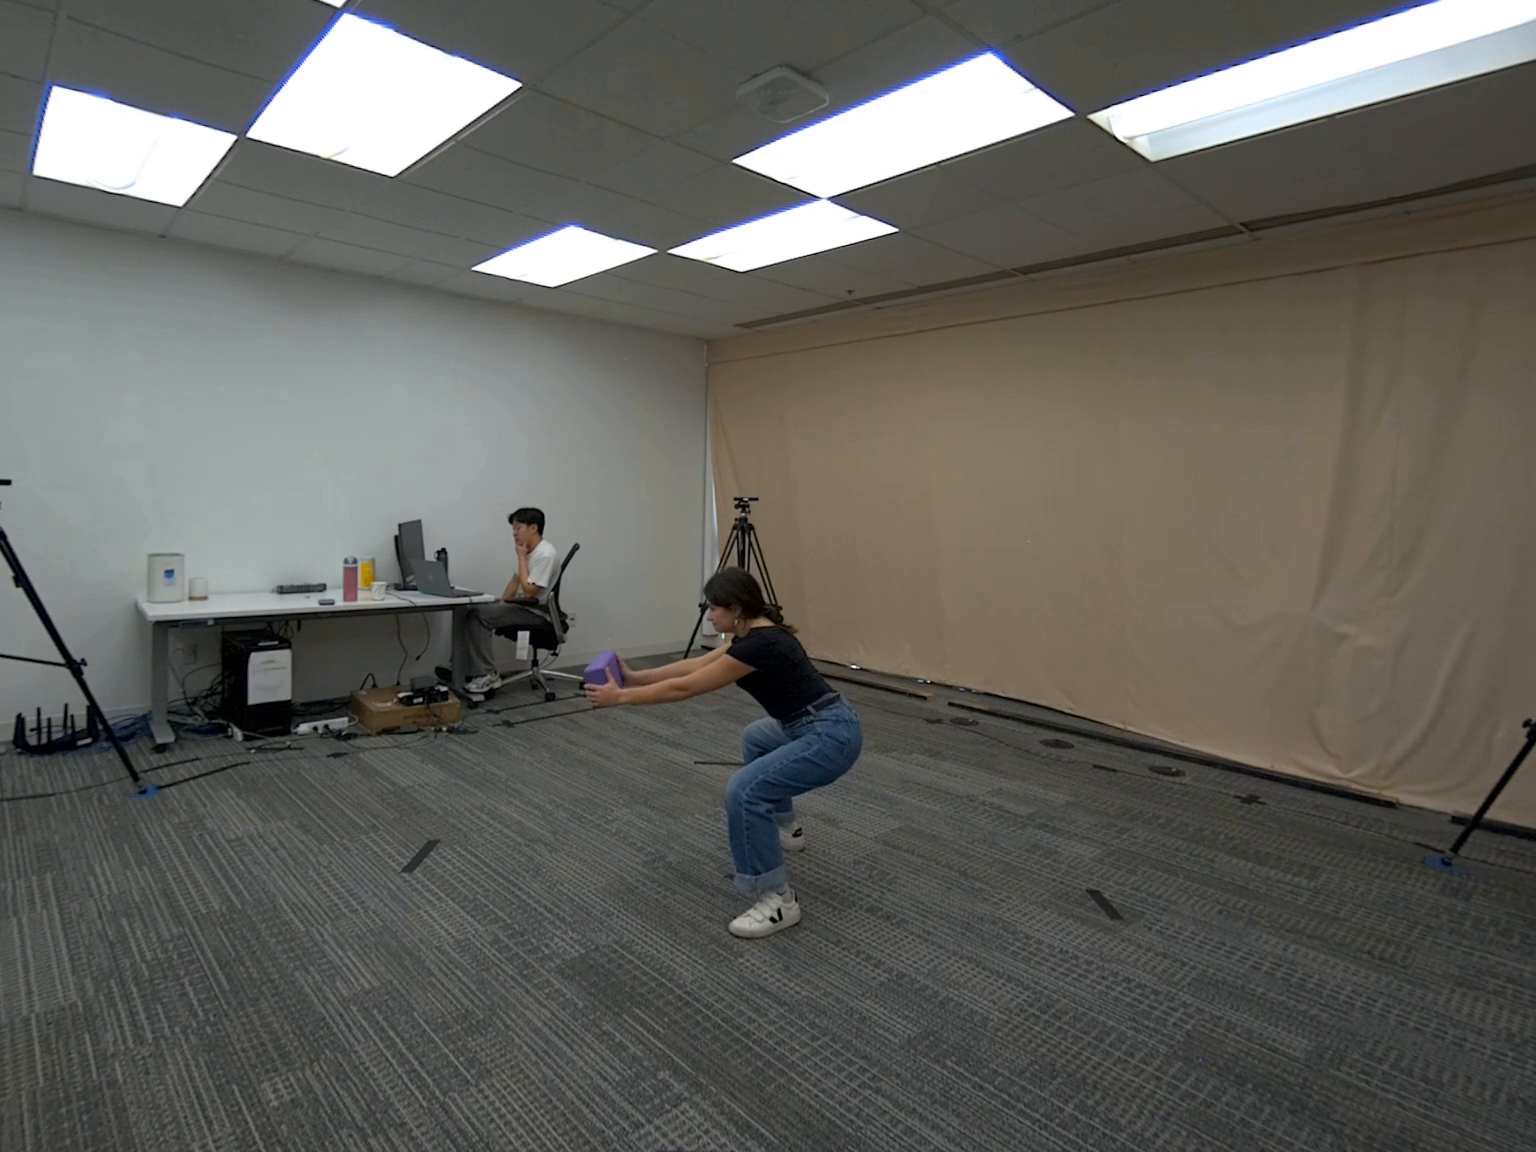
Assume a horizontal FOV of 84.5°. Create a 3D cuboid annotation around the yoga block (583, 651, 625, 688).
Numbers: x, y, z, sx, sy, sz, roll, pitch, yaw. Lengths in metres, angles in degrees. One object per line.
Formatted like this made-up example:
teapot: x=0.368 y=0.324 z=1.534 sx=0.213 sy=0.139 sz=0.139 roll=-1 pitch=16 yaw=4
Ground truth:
yoga block: x=-0.607 y=0.369 z=3.123 sx=0.076 sy=0.148 sz=0.230 roll=-13 pitch=8 yaw=3
